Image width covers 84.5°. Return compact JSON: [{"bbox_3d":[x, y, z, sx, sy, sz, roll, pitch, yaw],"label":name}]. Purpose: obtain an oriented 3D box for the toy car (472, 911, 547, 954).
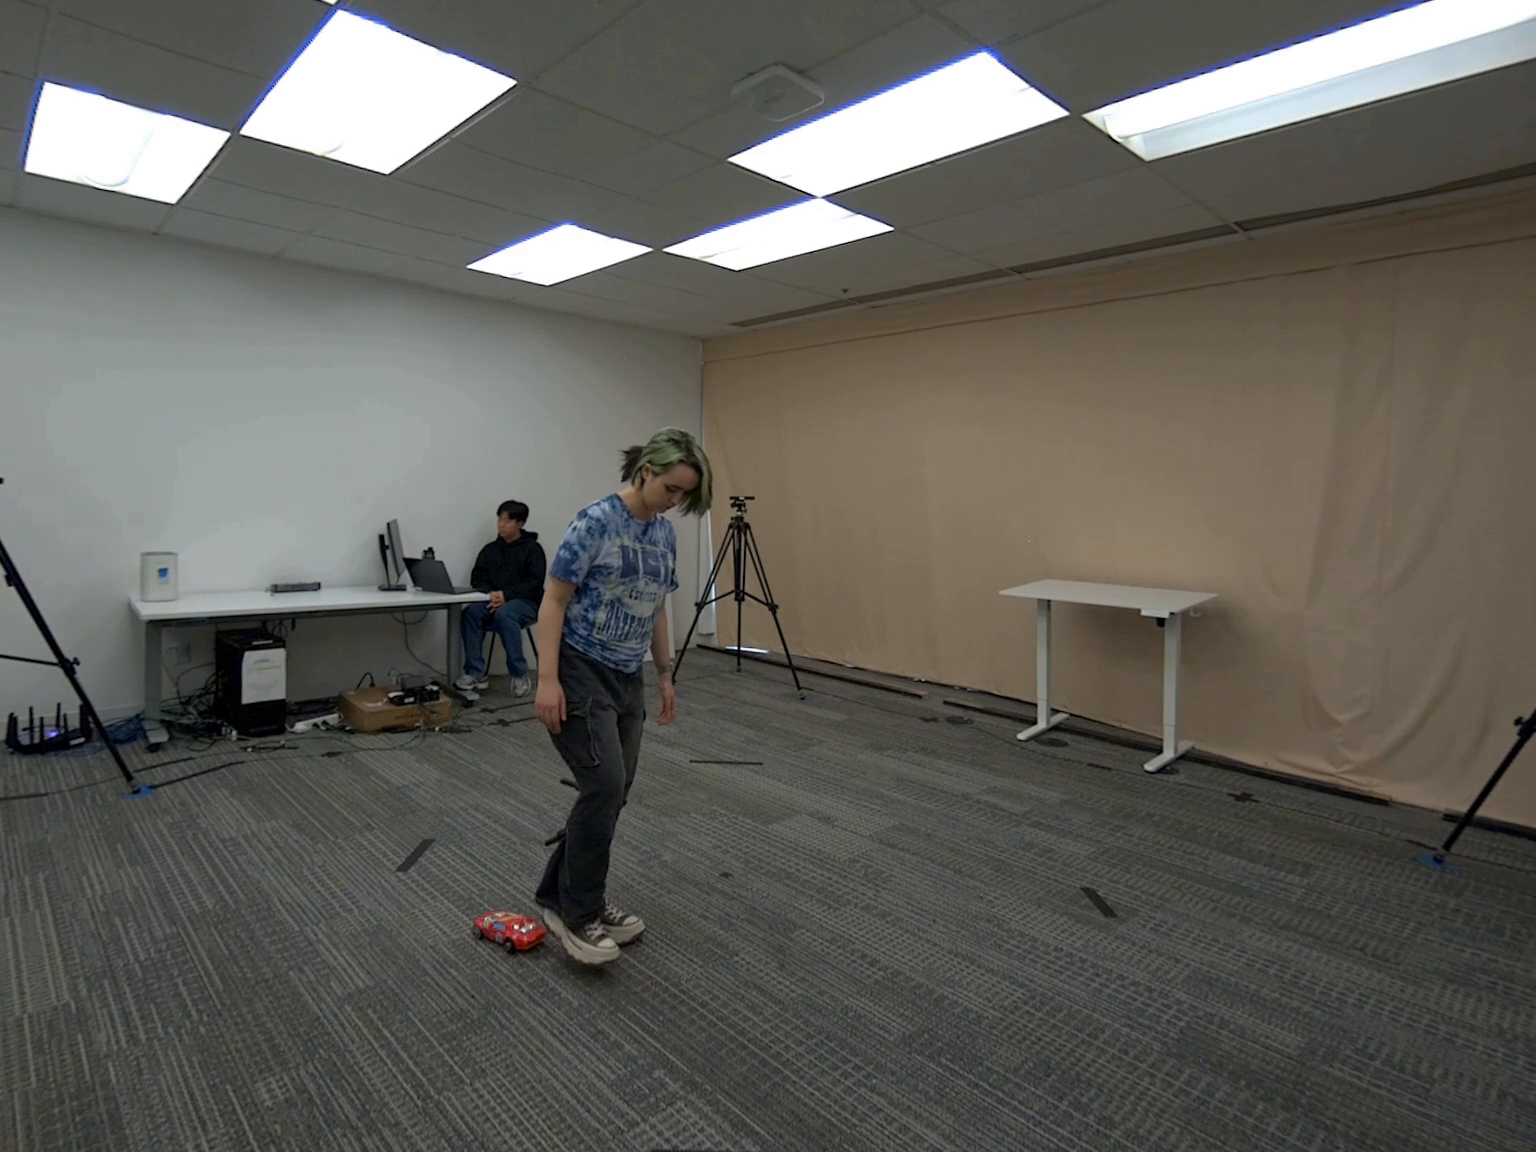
[{"bbox_3d":[-0.798,1.097,2.611,0.259,0.083,0.127,-6,0,34],"label":"toy car"}]
